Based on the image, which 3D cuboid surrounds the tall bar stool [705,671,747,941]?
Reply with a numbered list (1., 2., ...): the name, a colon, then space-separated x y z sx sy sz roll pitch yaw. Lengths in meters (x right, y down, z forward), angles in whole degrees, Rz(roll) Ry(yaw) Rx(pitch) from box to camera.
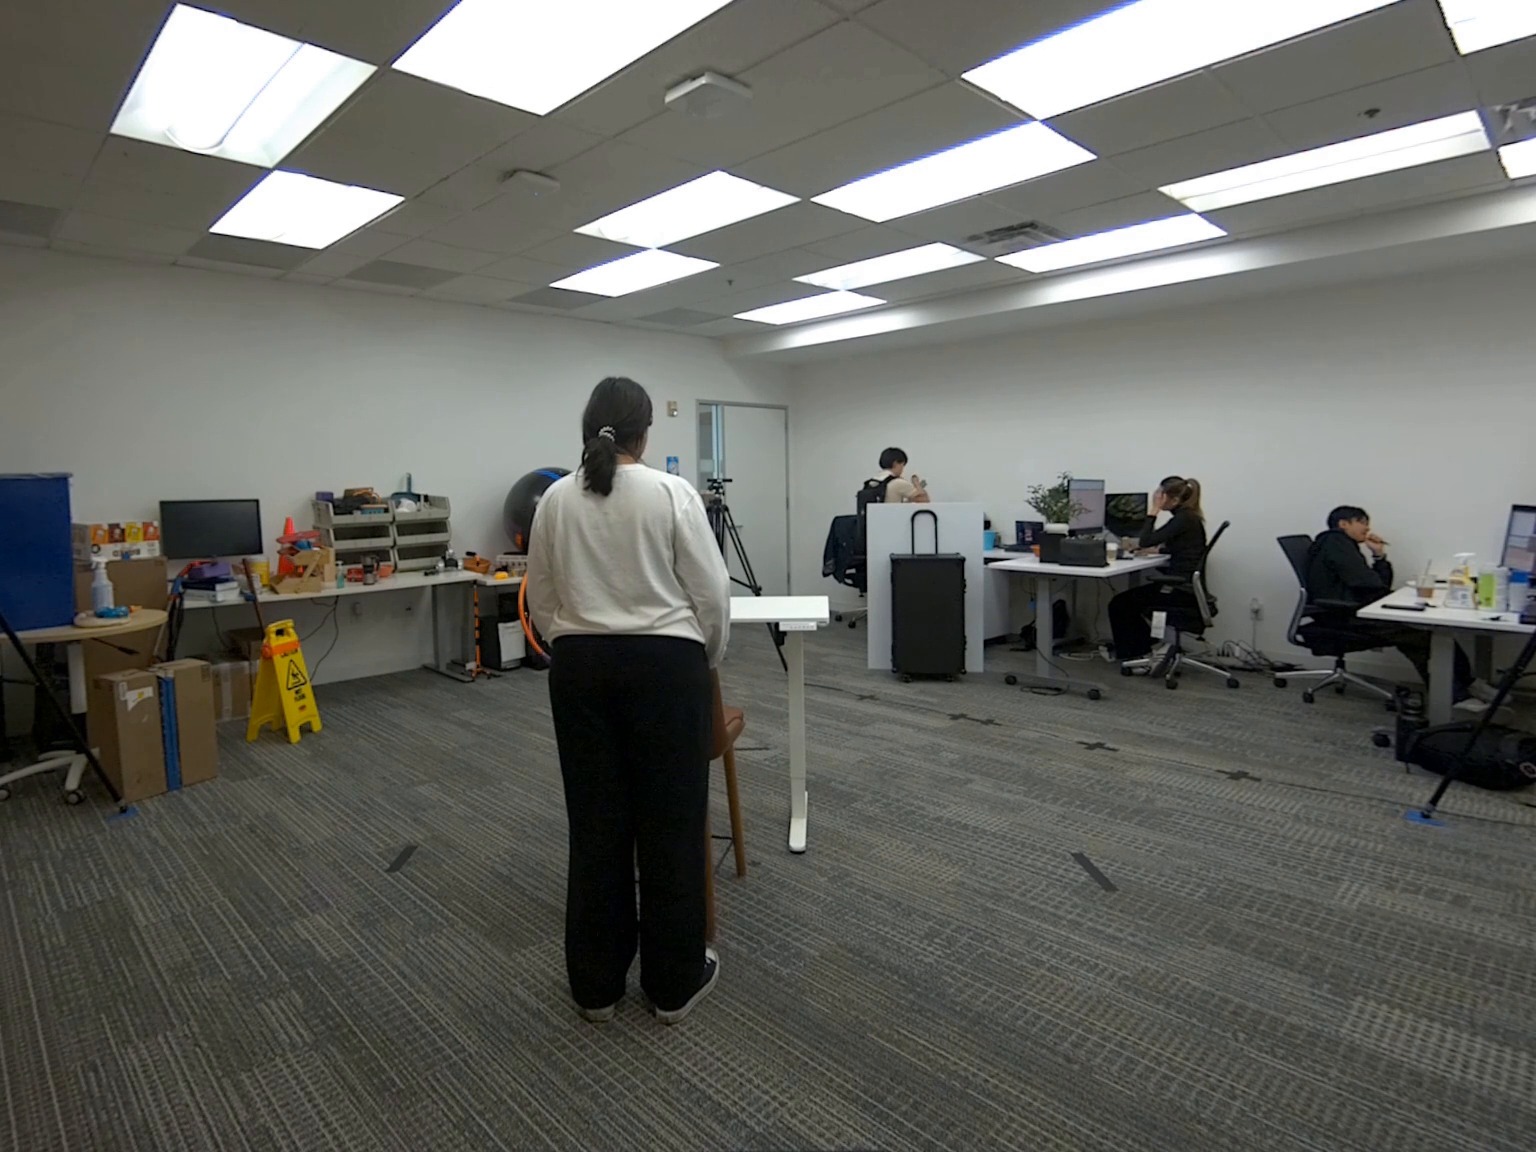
1. tall bar stool: -0.315 0.646 2.817 0.462 0.884 0.465 0 7 12
